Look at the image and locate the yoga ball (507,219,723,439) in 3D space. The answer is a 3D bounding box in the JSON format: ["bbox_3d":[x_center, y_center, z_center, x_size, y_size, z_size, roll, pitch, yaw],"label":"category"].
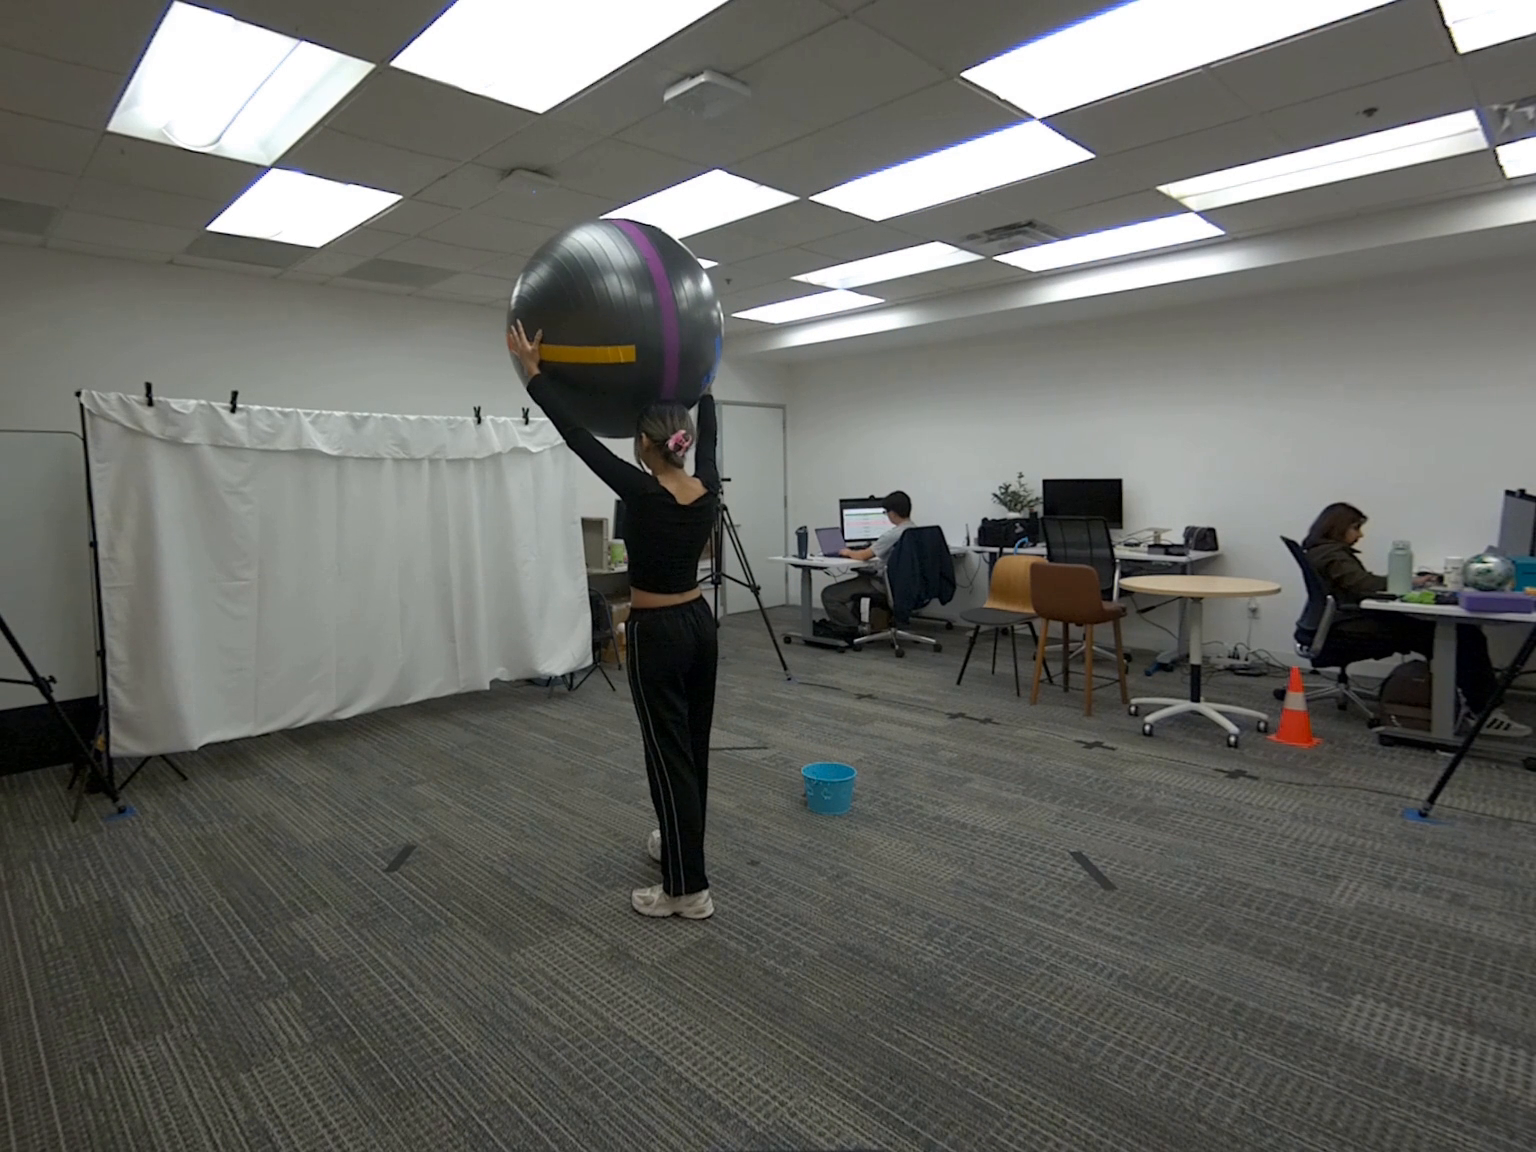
[{"bbox_3d":[-0.536,-0.858,3.020,0.757,0.755,0.762,-1,5,-2],"label":"yoga ball"}]
